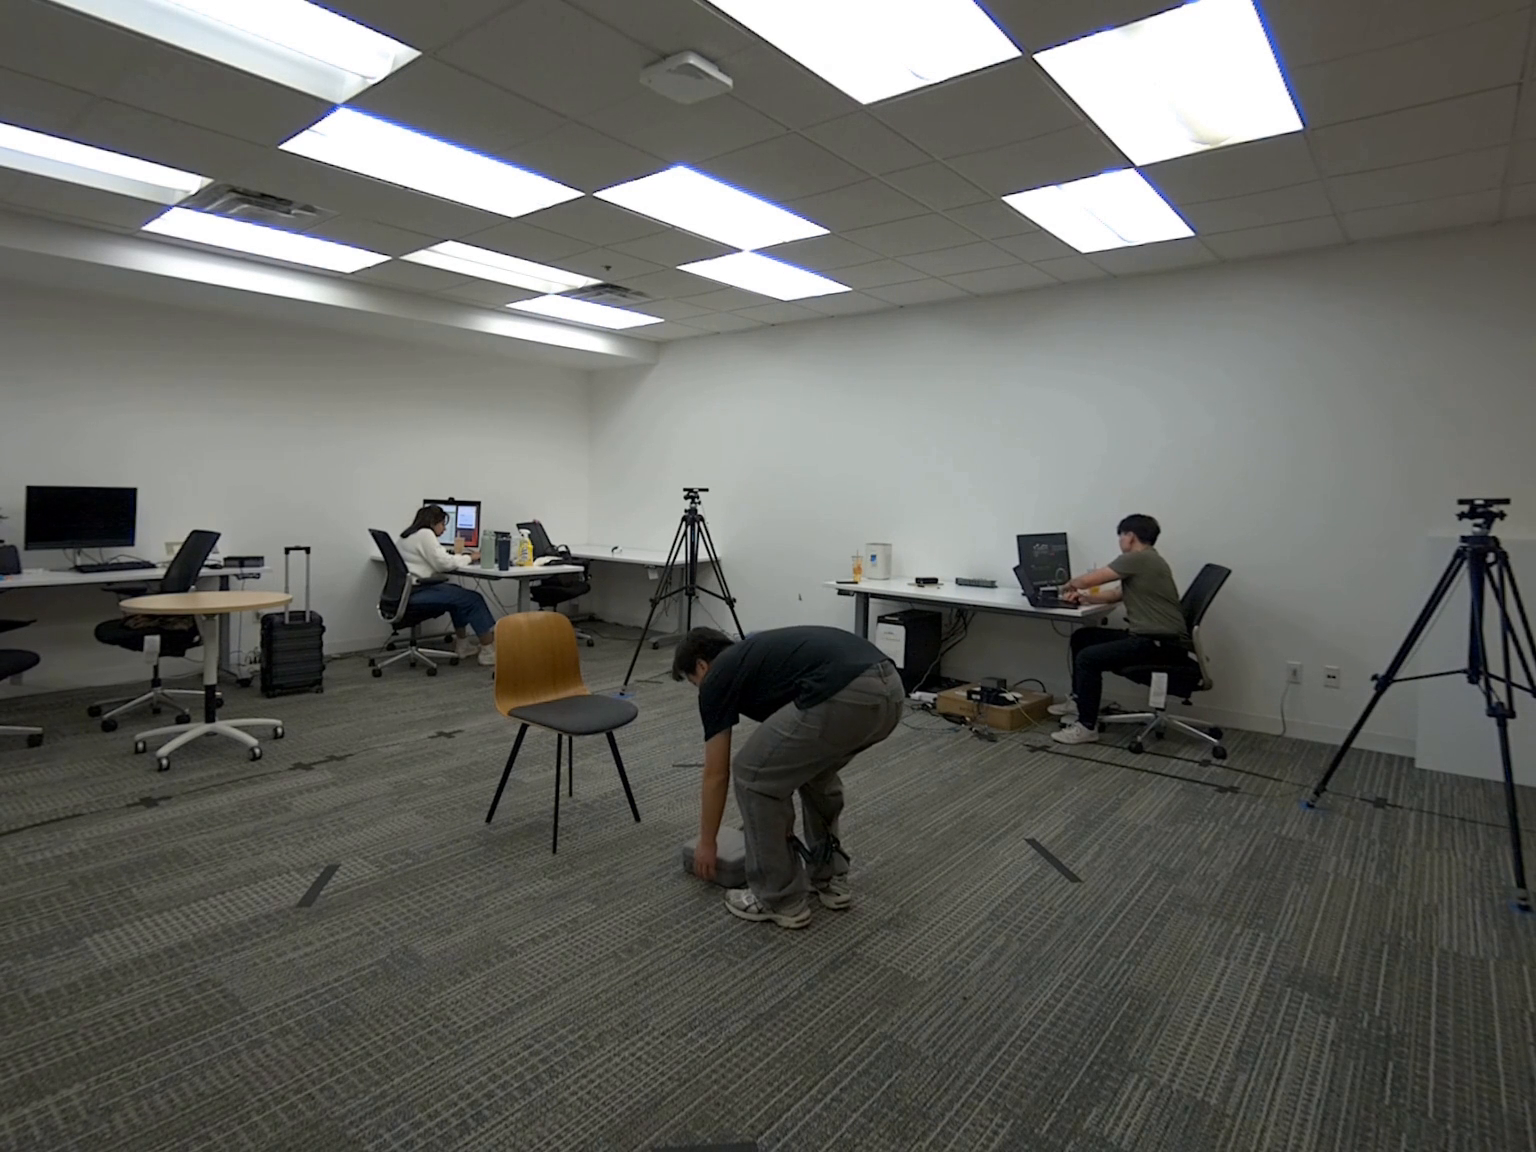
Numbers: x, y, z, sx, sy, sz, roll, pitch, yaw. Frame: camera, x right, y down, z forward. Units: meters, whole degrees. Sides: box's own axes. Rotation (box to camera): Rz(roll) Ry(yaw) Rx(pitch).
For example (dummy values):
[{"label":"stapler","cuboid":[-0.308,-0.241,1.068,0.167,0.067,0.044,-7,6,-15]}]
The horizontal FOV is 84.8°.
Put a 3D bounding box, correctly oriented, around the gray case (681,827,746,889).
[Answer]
[{"label":"gray case","cuboid":[-0.166,1.009,3.109,0.296,0.103,0.255,3,6,40]}]
